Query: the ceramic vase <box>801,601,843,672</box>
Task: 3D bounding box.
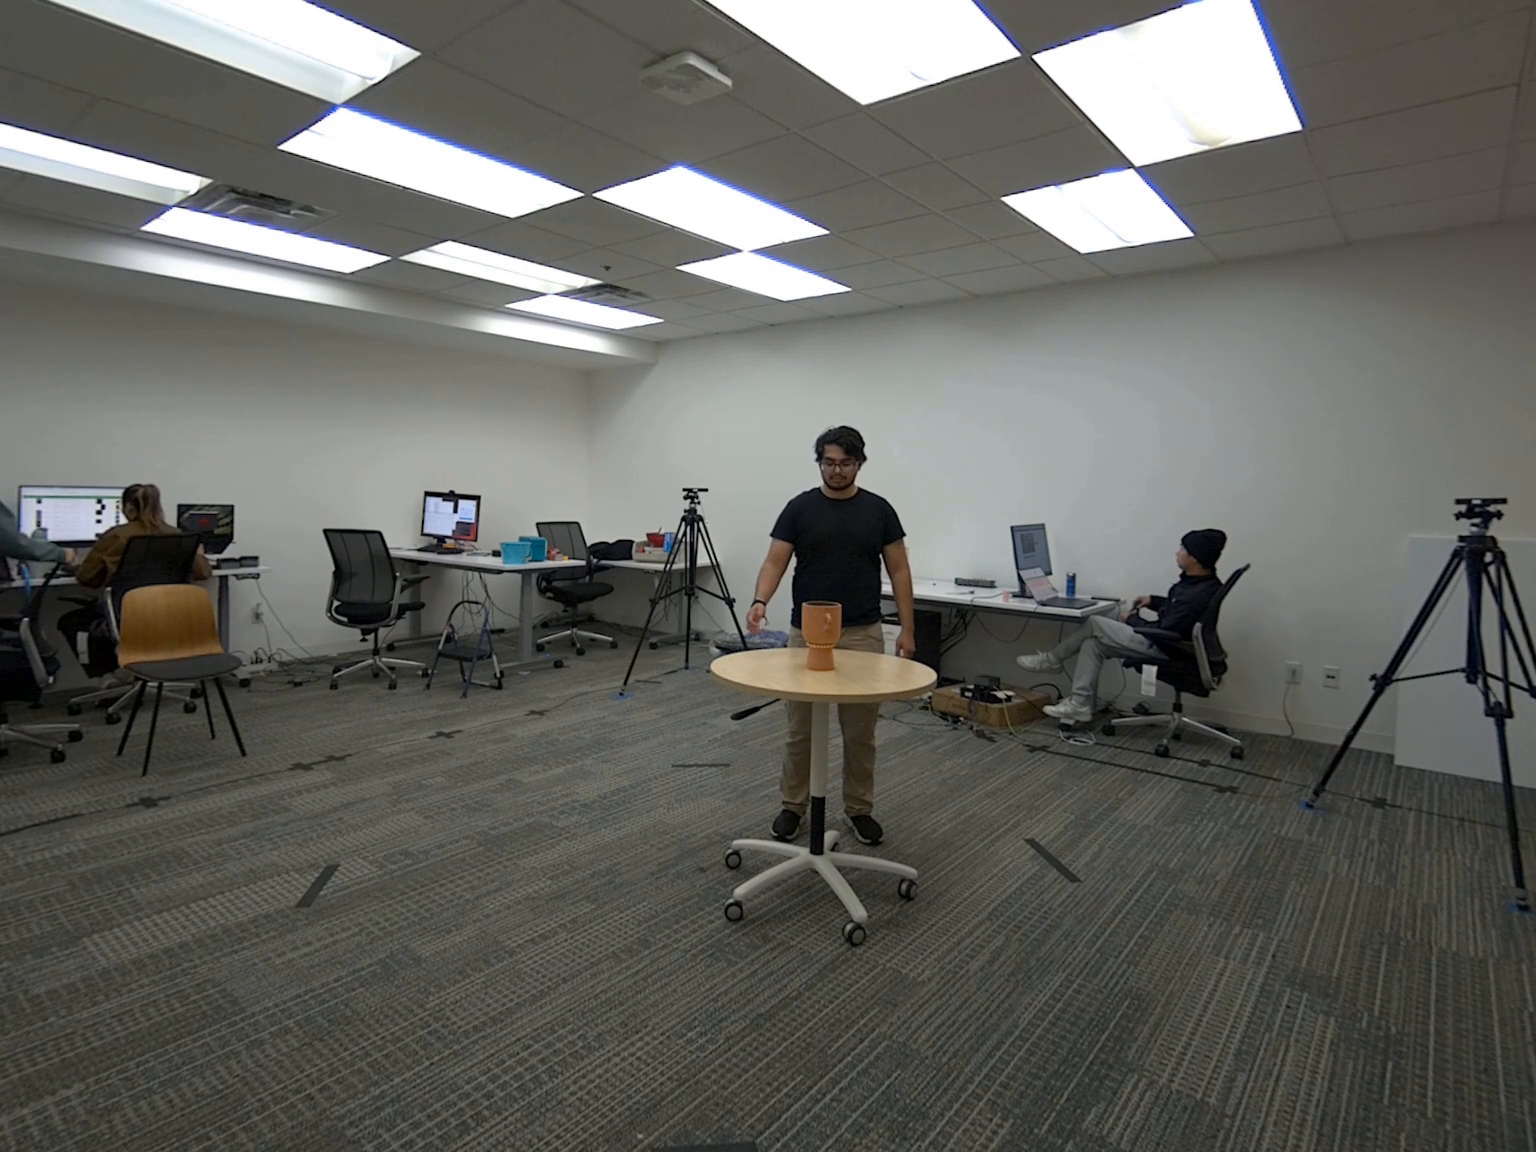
[{"bbox_3d":[0.171,0.205,2.912,0.139,0.219,0.155,3,6,32],"label":"ceramic vase"}]
